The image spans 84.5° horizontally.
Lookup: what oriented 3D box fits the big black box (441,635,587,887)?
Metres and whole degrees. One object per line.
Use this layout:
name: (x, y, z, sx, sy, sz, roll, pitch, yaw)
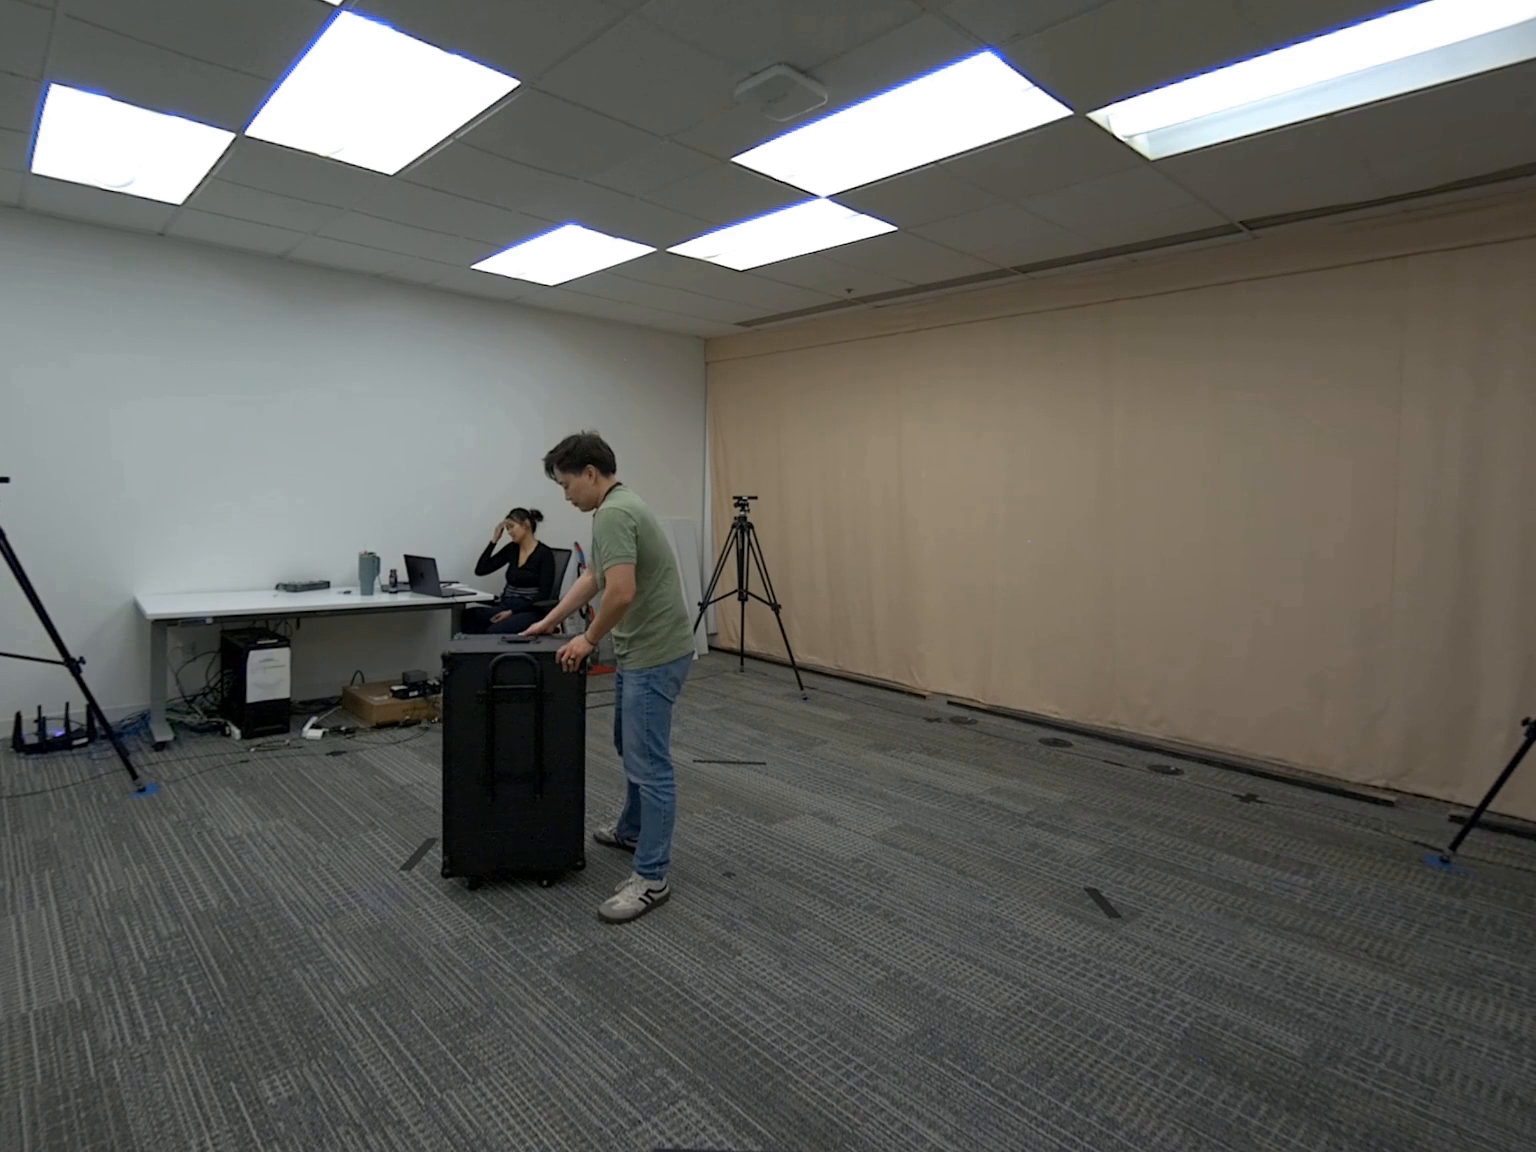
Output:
big black box: (-0.914, 0.670, 3.053, 0.517, 0.859, 0.401, 2, 5, -11)
